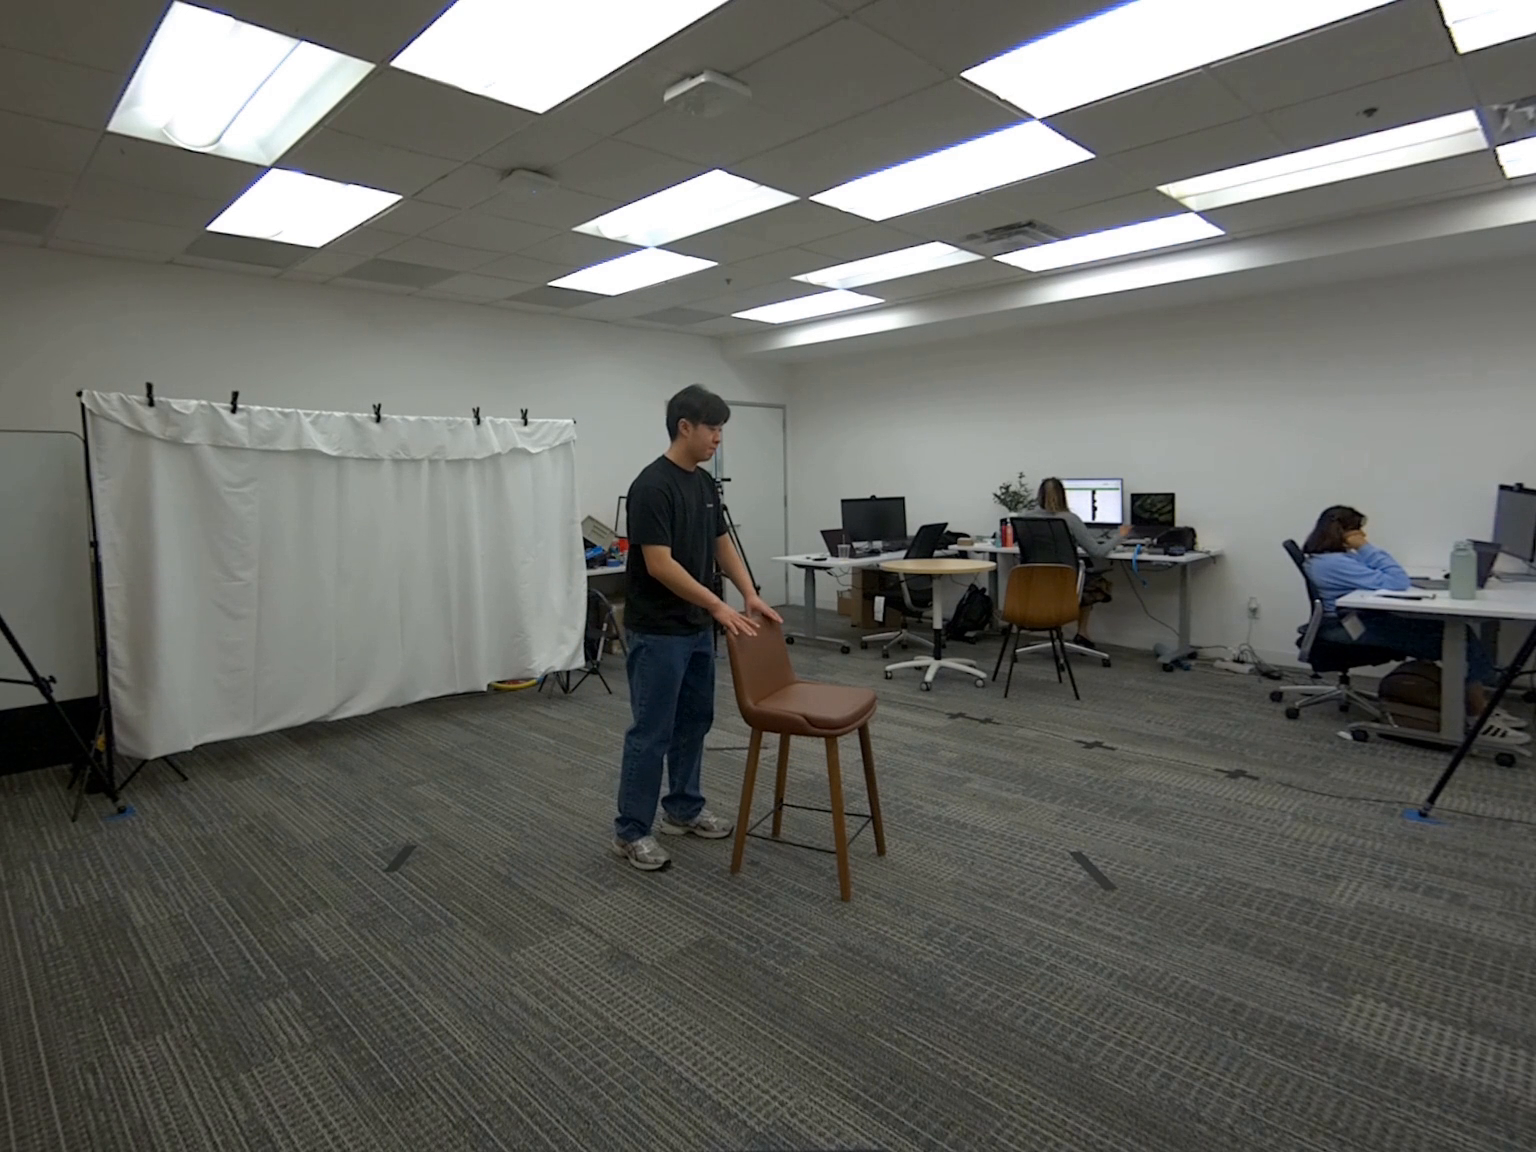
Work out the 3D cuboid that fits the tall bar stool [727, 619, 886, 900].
[{"bbox_3d":[0.135,0.604,3.066,0.479,0.888,0.447,-1,3,28],"label":"tall bar stool"}]
